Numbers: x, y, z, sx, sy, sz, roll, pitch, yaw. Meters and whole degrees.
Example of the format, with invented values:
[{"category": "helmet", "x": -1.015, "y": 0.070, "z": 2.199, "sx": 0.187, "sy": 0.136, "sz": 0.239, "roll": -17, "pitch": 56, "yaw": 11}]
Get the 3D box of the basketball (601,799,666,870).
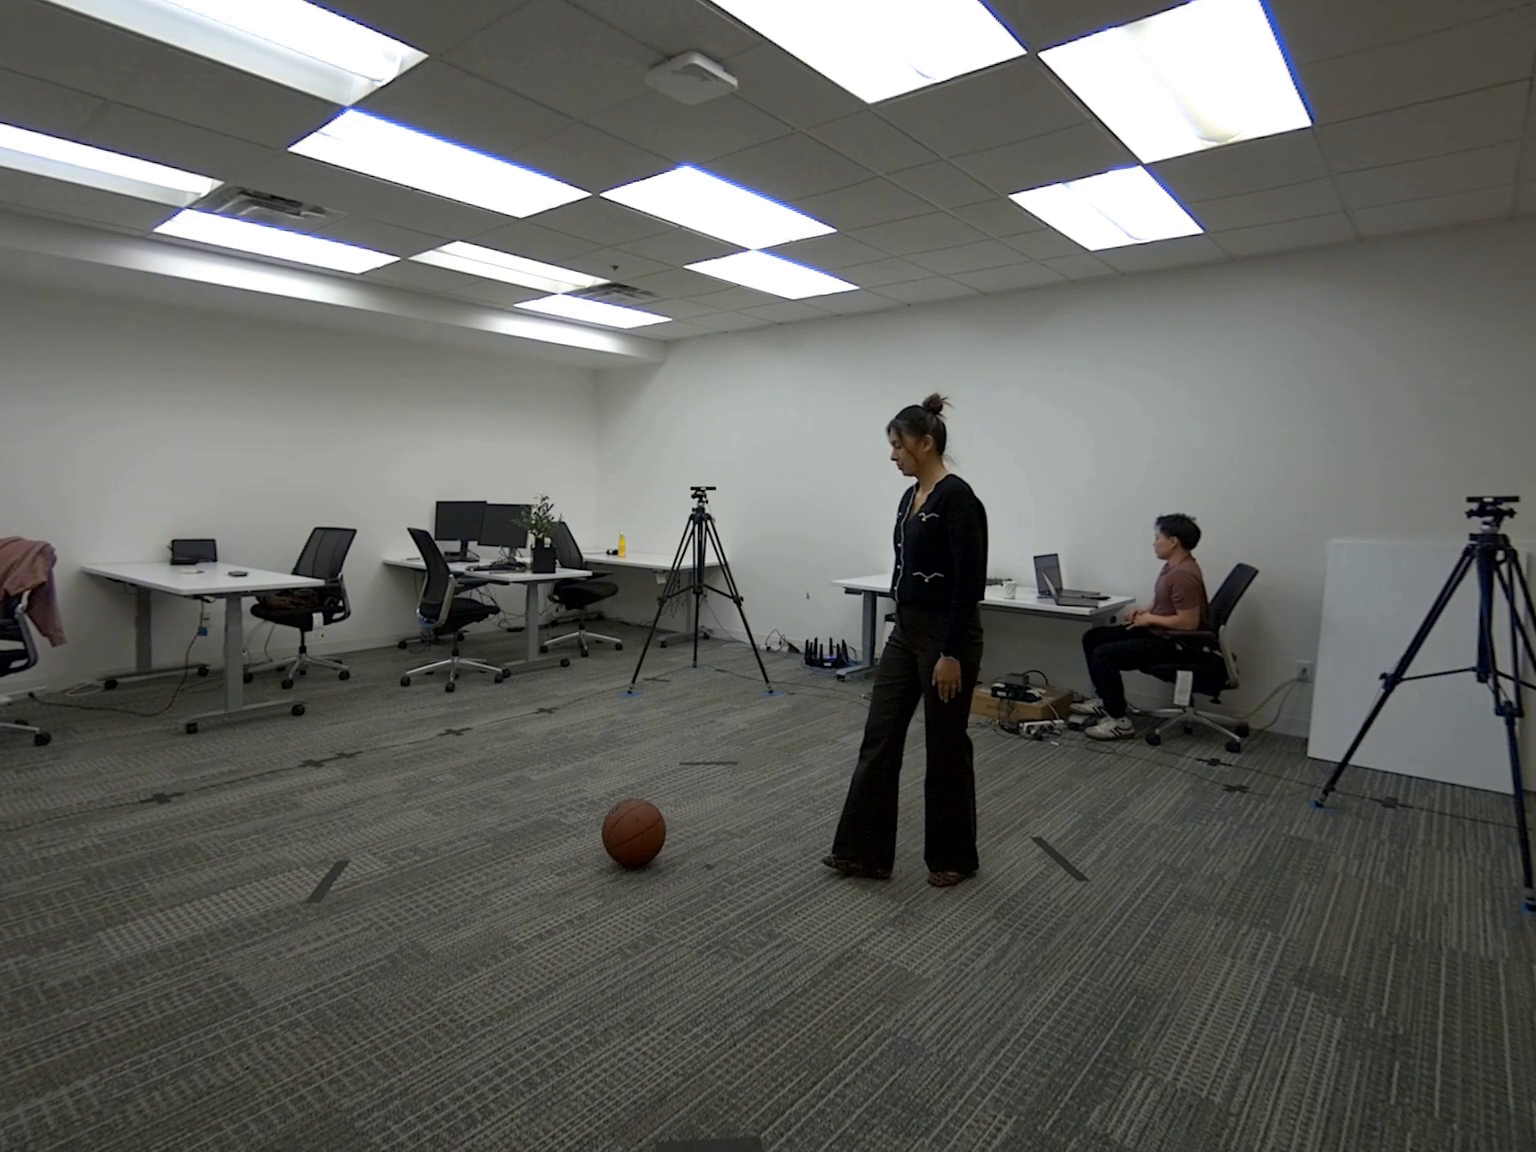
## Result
[{"category": "basketball", "x": -0.505, "y": 0.941, "z": 3.131, "sx": 0.235, "sy": 0.235, "sz": 0.237, "roll": 1, "pitch": 4, "yaw": -2}]
